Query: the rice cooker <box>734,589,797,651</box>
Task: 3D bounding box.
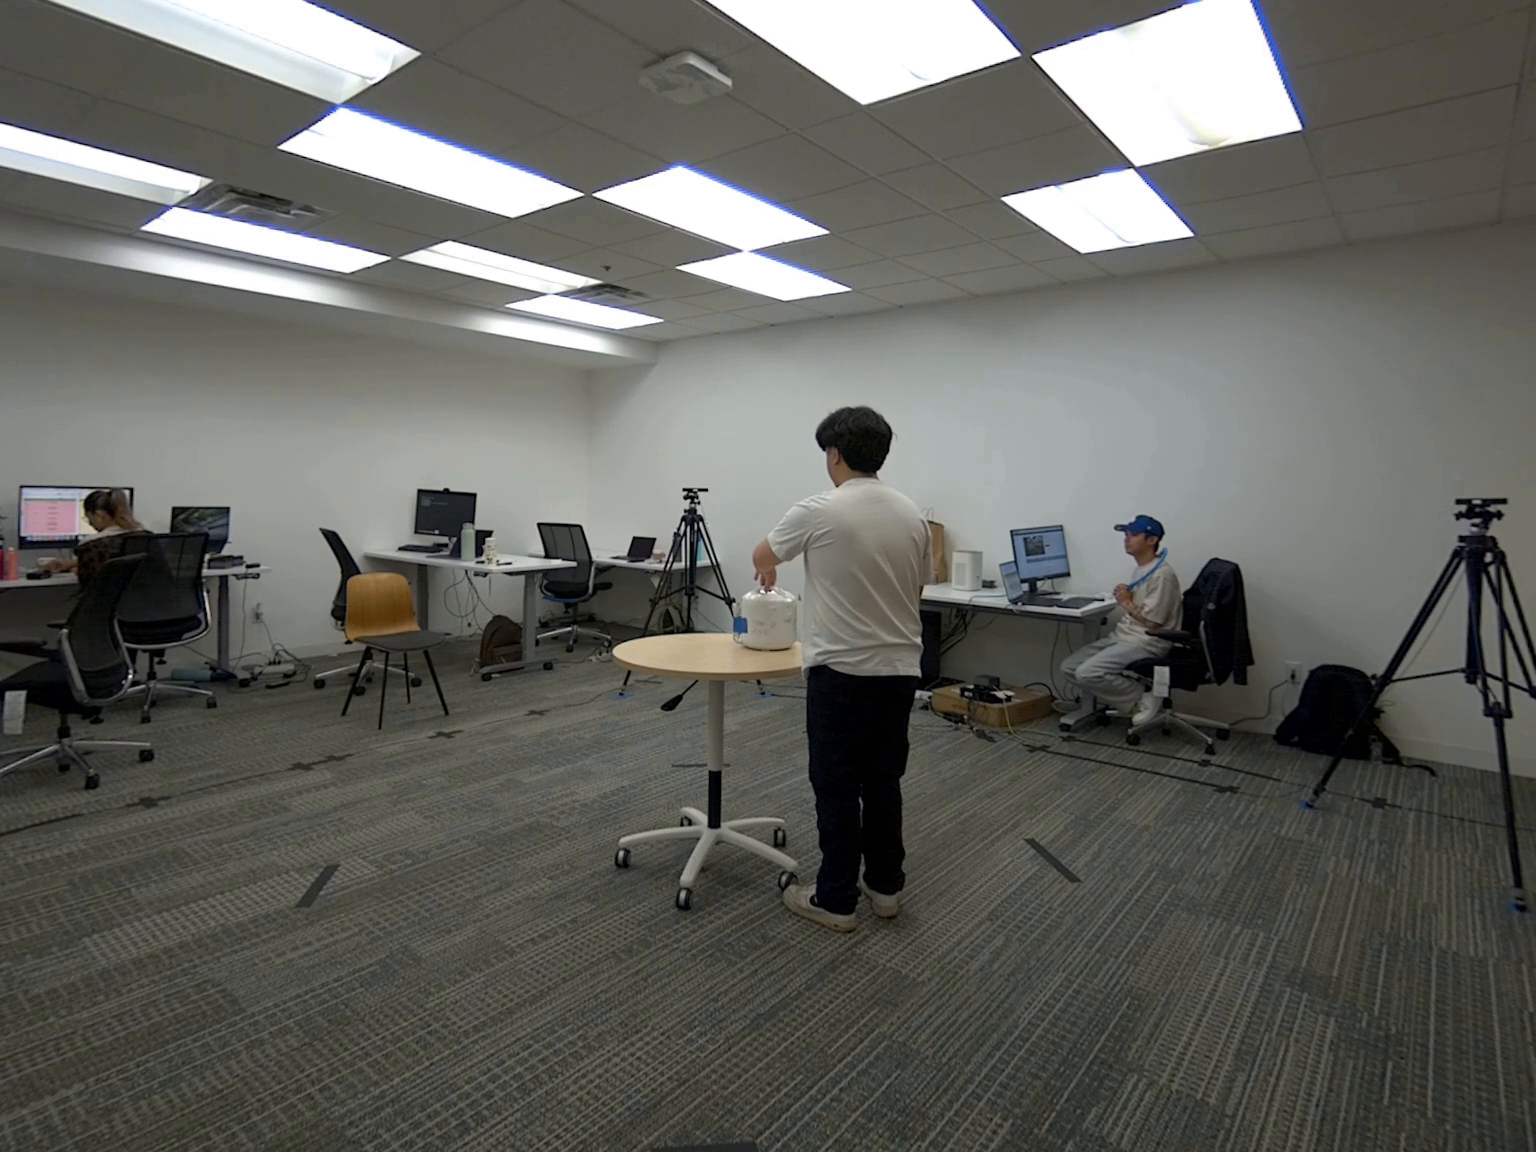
[{"bbox_3d":[-0.010,0.151,3.215,0.211,0.232,0.228,-4,6,-42],"label":"rice cooker"}]
